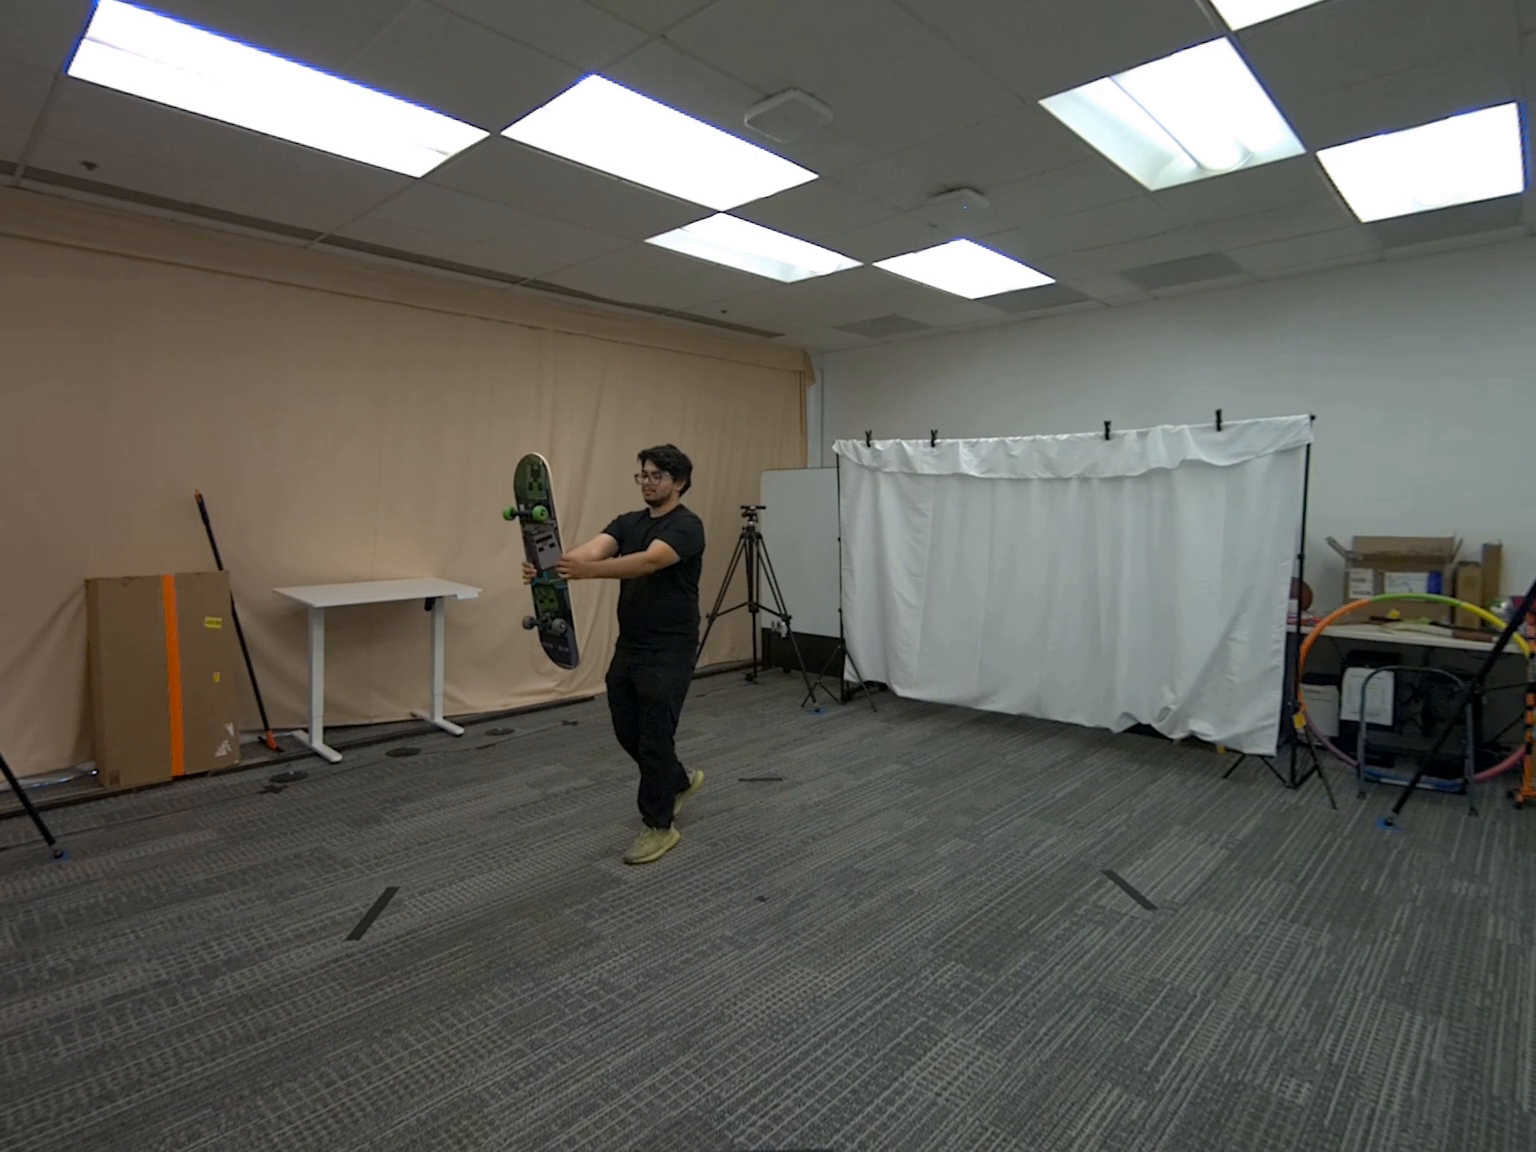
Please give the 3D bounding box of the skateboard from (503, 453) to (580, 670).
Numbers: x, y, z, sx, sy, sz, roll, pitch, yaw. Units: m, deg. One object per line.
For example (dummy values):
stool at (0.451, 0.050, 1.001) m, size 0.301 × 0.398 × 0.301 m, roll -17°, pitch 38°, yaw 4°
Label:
skateboard at (-0.793, -0.028, 2.947) m, size 0.199 × 0.778 × 0.108 m, roll 2°, pitch 15°, yaw 35°
